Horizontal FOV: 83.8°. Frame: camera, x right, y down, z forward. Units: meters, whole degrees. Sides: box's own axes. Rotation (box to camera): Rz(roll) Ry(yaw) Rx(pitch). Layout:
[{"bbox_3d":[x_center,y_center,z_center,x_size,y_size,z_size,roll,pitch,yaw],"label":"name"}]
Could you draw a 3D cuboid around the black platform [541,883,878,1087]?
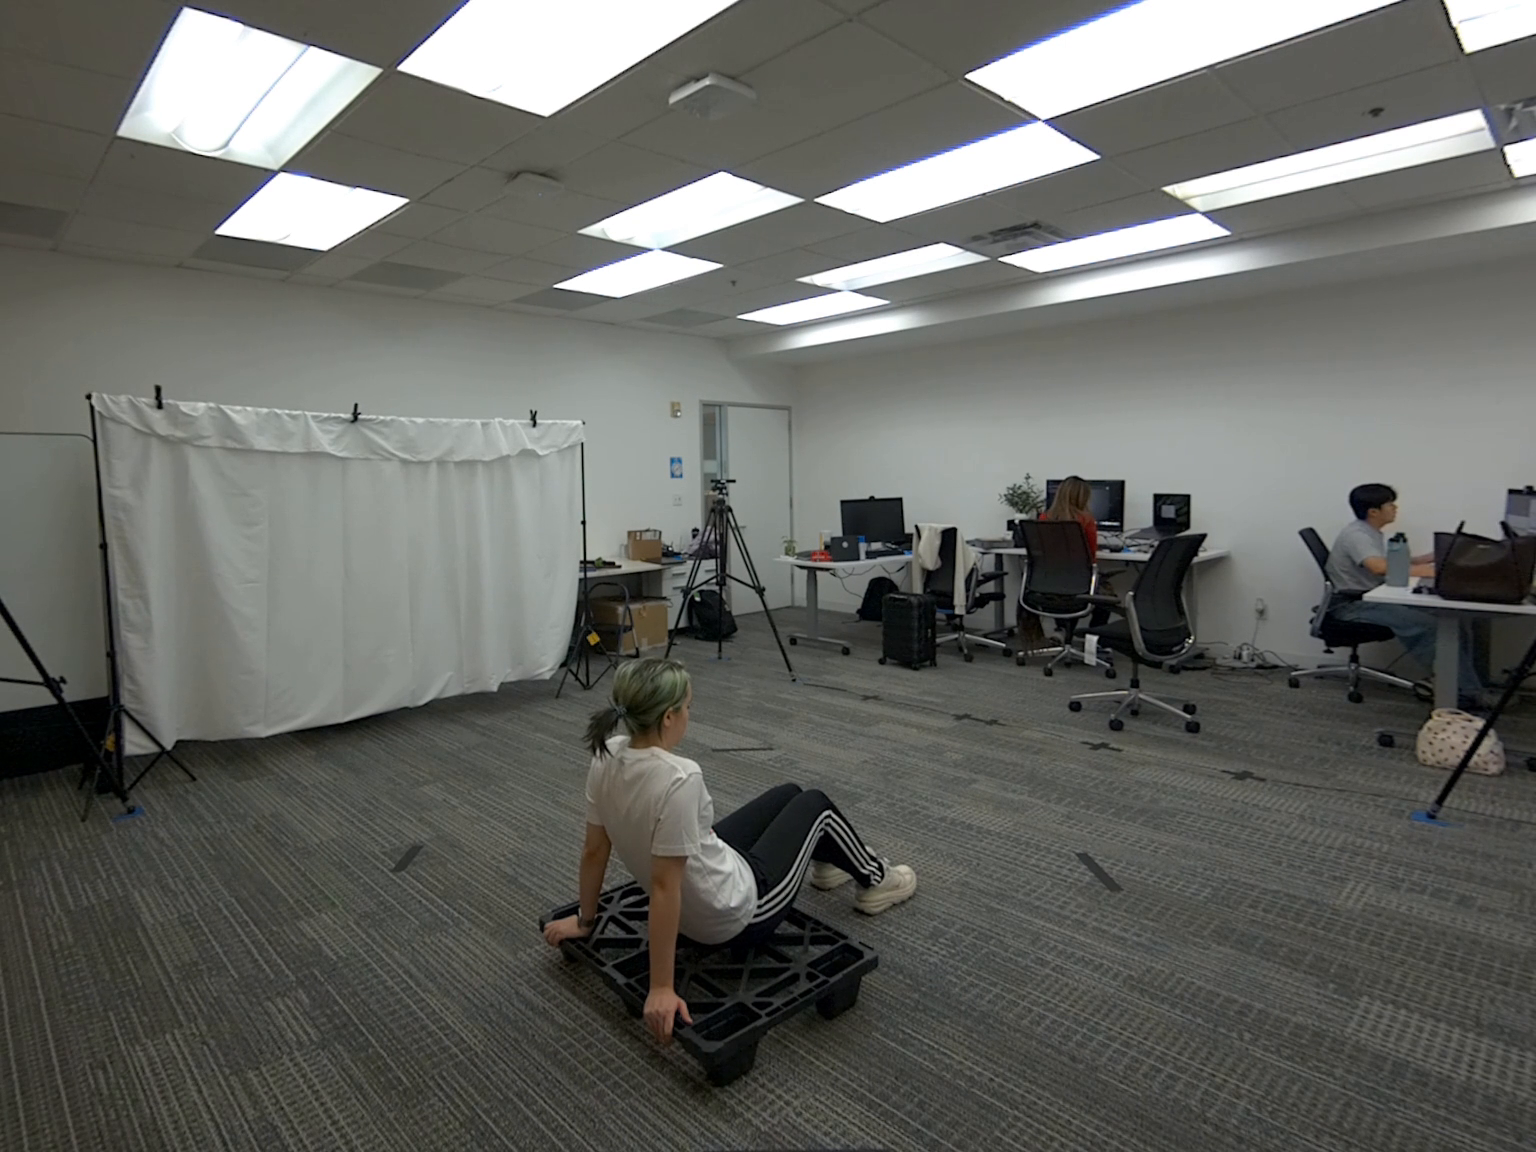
[{"bbox_3d":[-0.187,1.066,2.396,0.589,0.142,0.831,-6,8,-40],"label":"black platform"}]
